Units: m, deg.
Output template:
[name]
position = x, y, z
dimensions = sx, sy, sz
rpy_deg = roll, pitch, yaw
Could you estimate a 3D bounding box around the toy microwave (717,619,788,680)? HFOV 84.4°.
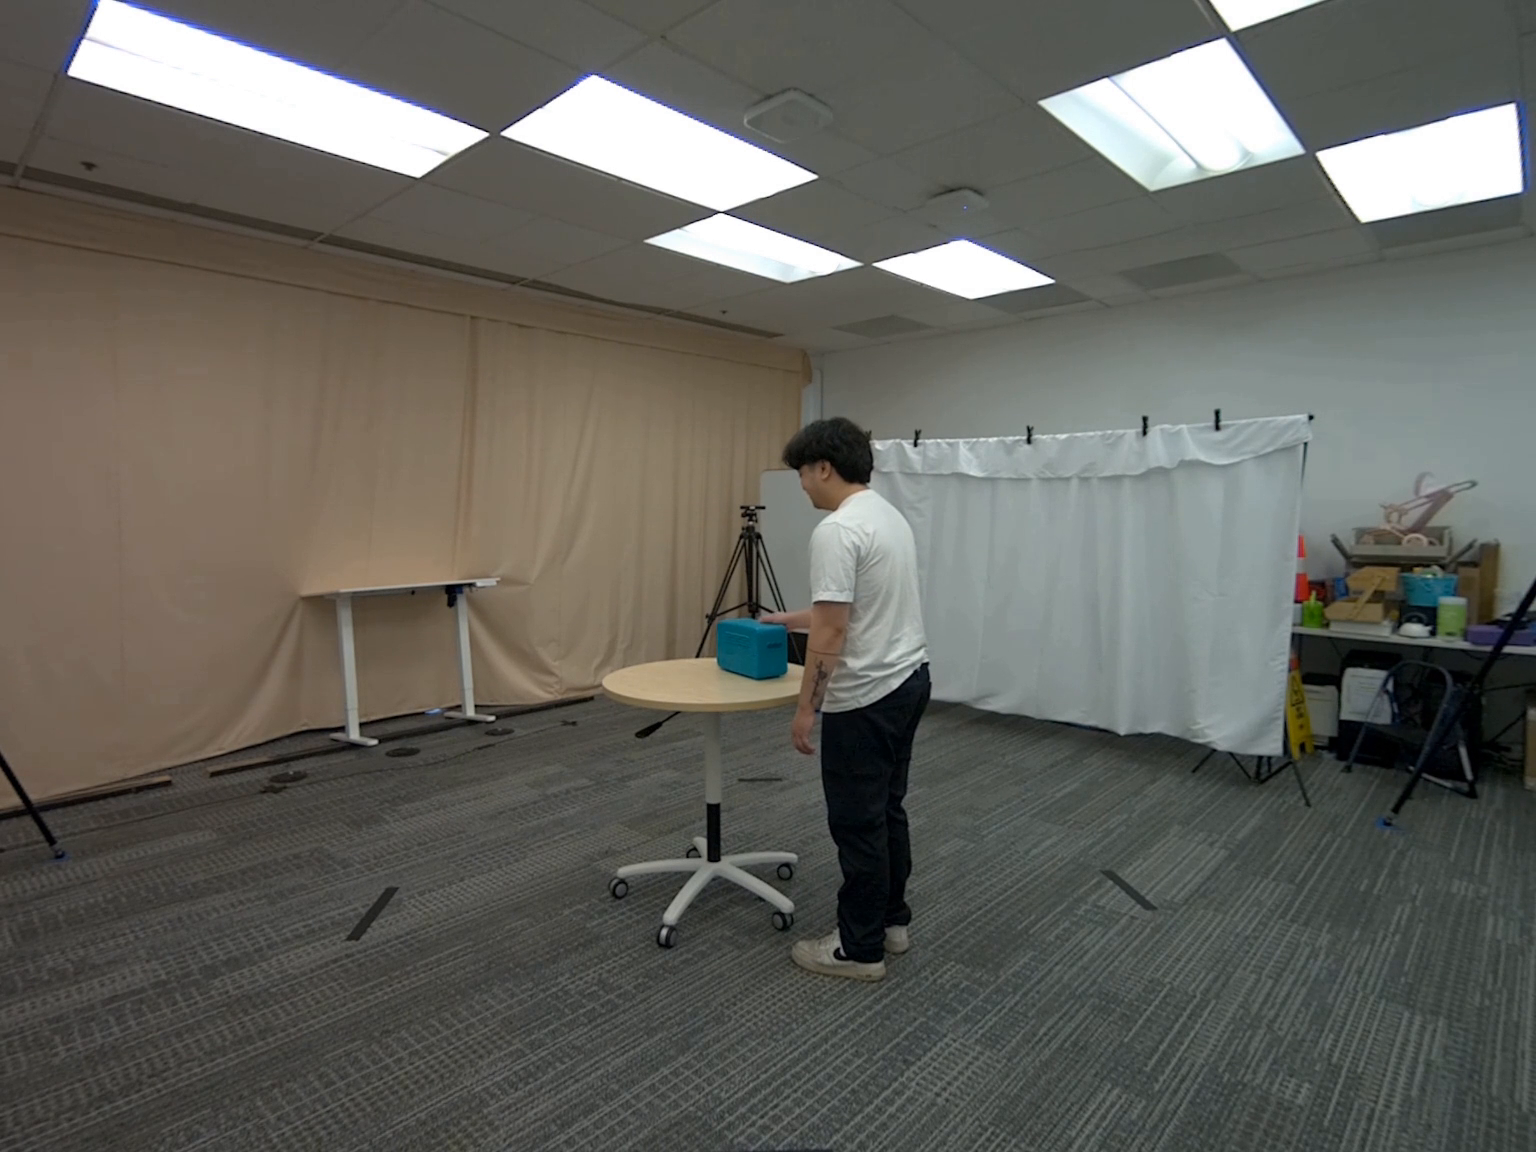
[toy microwave]
position = -0.053, 0.256, 3.020
dimensions = 0.148, 0.184, 0.295
rpy_deg = -2, 4, -32
